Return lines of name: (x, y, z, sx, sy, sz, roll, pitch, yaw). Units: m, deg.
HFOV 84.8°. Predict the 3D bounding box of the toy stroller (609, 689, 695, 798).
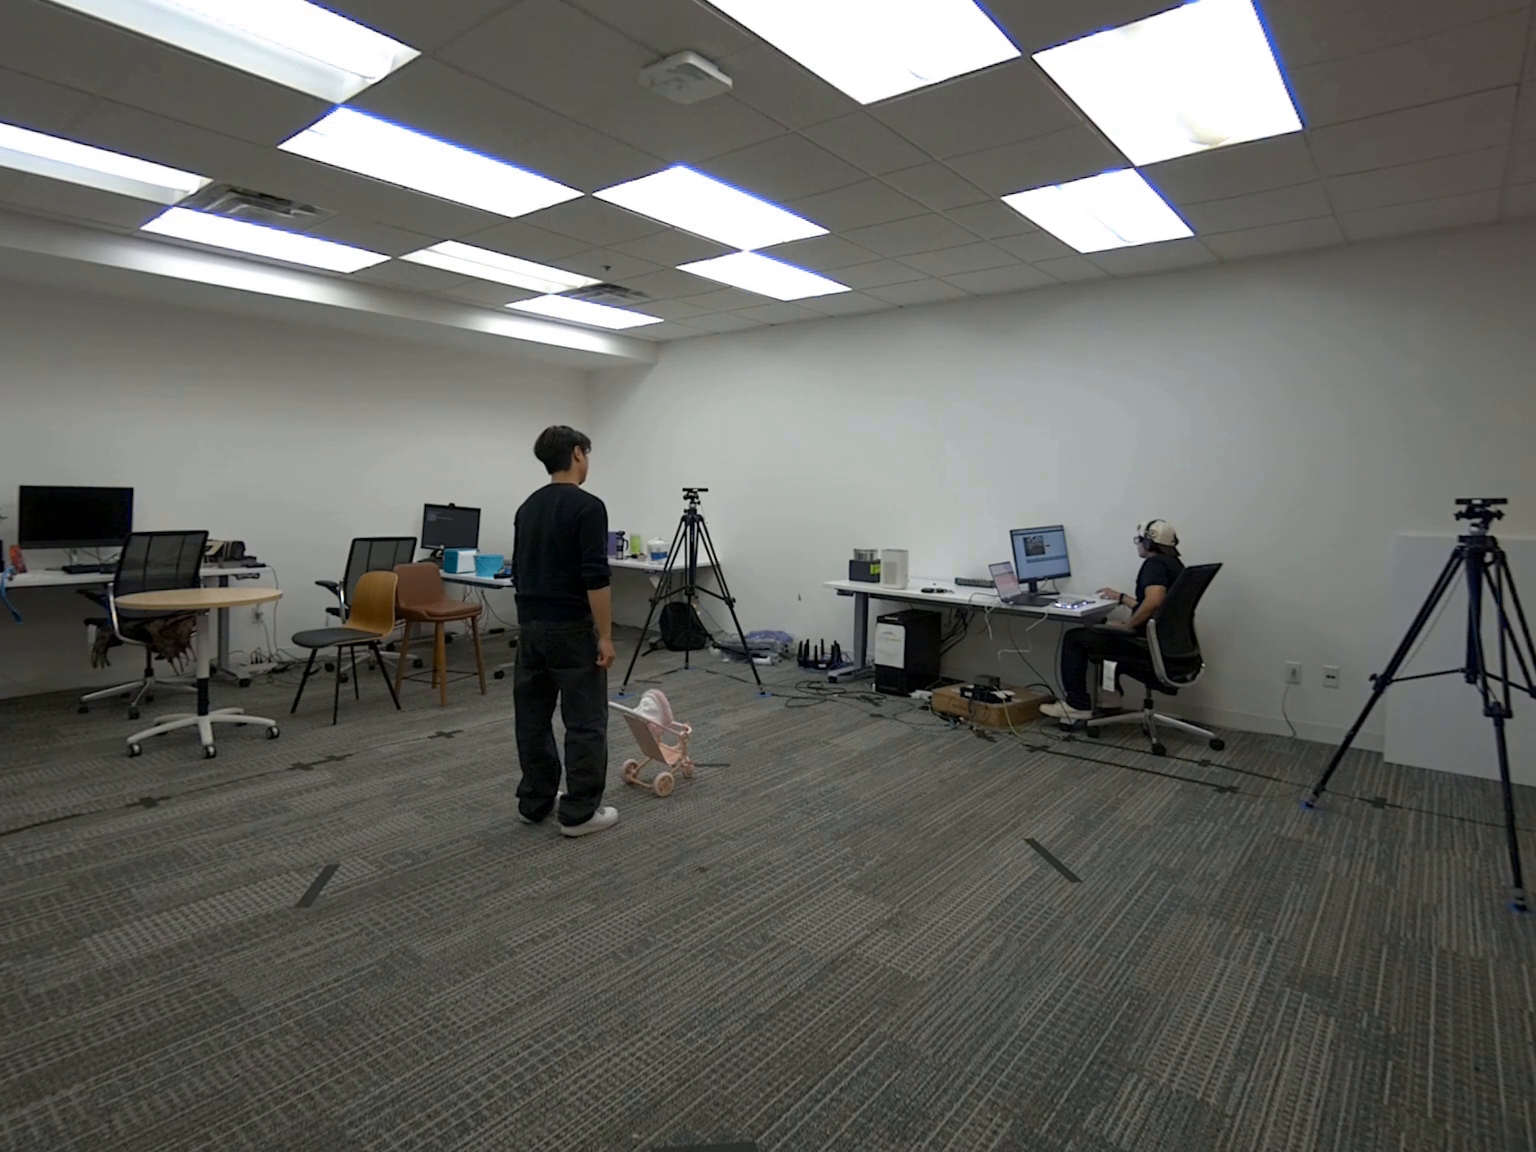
toy stroller: (-0.530, 0.759, 3.965, 0.336, 0.526, 0.291, -24, 18, -36)
